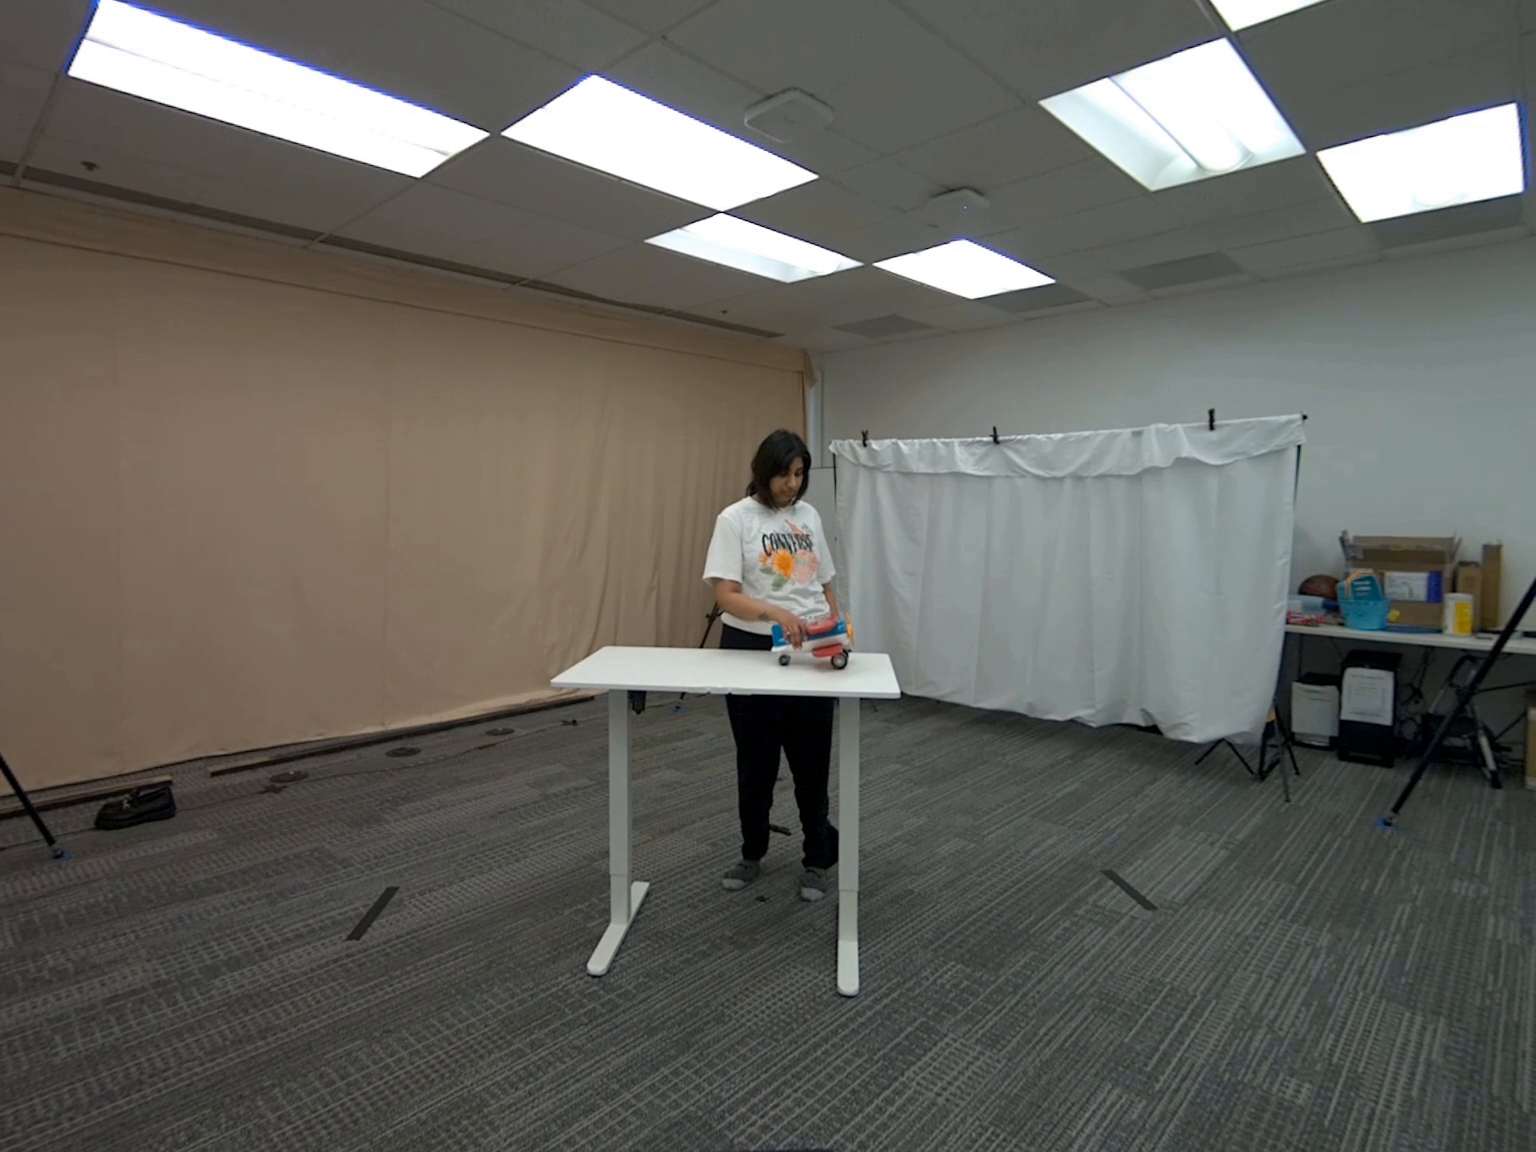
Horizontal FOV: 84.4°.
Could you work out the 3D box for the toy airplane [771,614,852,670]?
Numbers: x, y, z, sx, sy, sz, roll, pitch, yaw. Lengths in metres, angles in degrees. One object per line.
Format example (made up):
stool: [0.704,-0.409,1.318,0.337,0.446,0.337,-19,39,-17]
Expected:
toy airplane: [0.144,0.212,2.663,0.254,0.156,0.256,-1,4,-18]
